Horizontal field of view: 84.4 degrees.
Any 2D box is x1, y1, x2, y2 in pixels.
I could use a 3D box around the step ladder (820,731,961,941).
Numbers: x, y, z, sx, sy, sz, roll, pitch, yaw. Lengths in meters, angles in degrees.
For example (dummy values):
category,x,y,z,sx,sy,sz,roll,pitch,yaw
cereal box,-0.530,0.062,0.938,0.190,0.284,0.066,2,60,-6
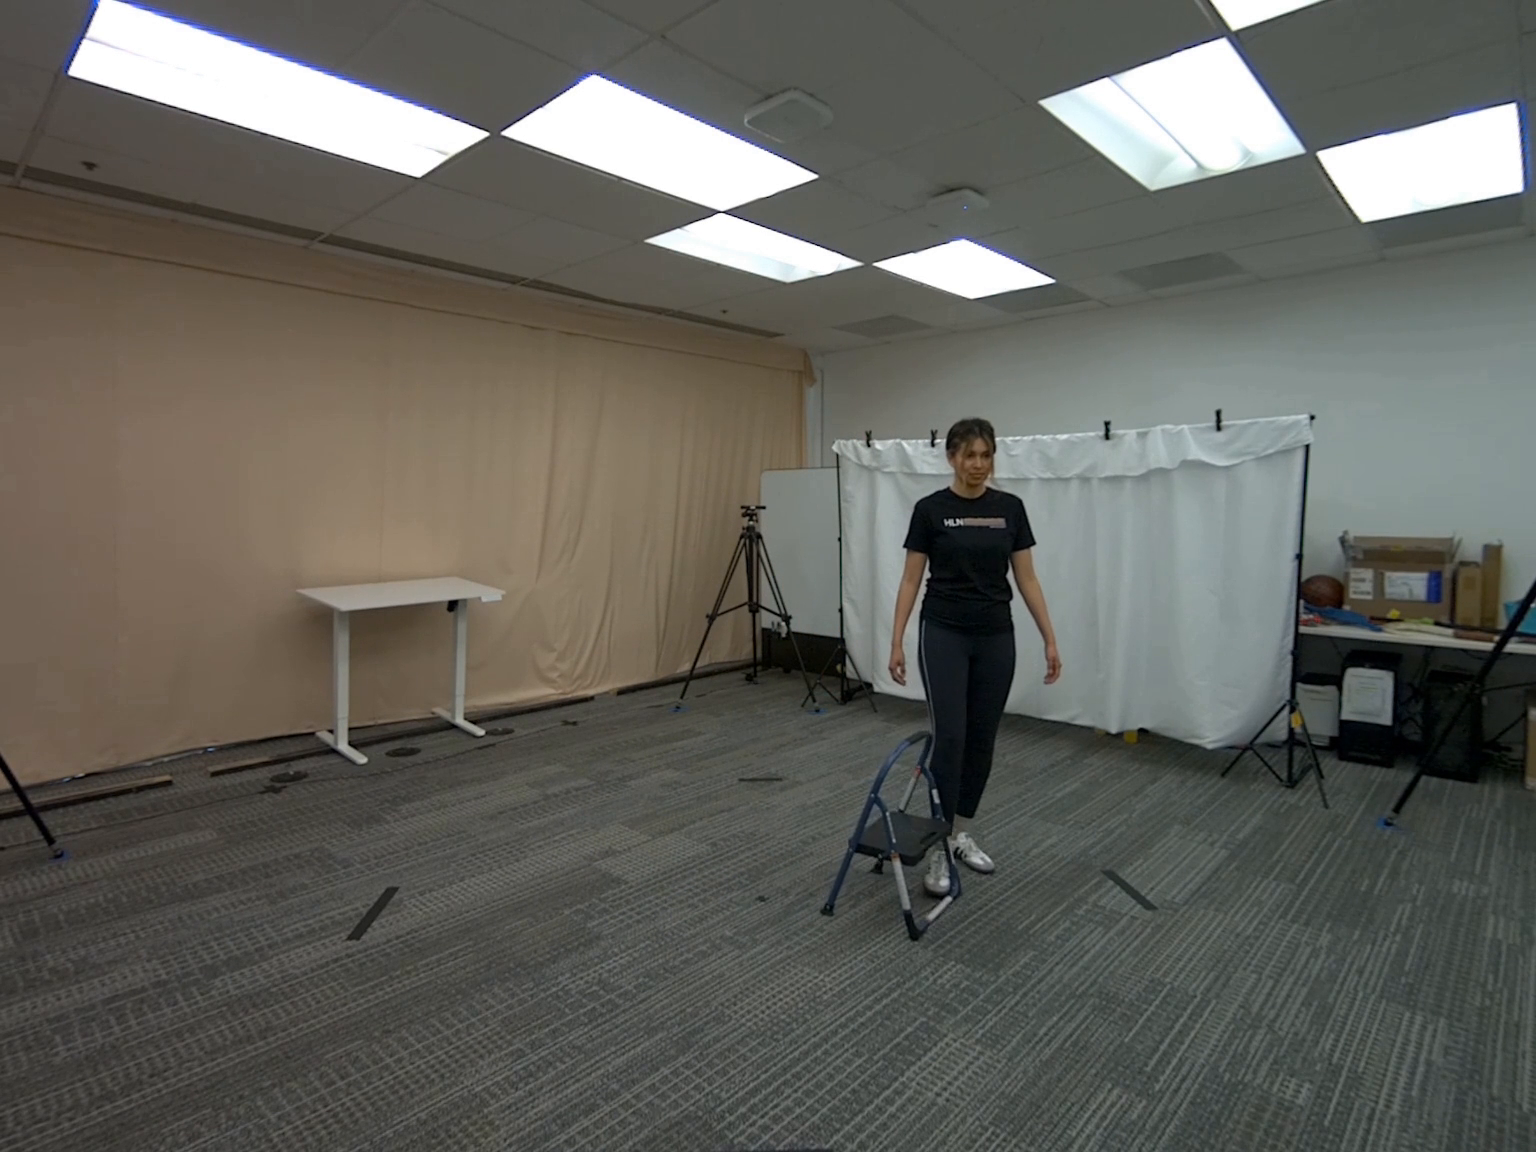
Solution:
category,x,y,z,sx,sy,sz,roll,pitch,yaw
step ladder,0.435,0.842,2.927,0.360,0.605,0.418,2,4,33
